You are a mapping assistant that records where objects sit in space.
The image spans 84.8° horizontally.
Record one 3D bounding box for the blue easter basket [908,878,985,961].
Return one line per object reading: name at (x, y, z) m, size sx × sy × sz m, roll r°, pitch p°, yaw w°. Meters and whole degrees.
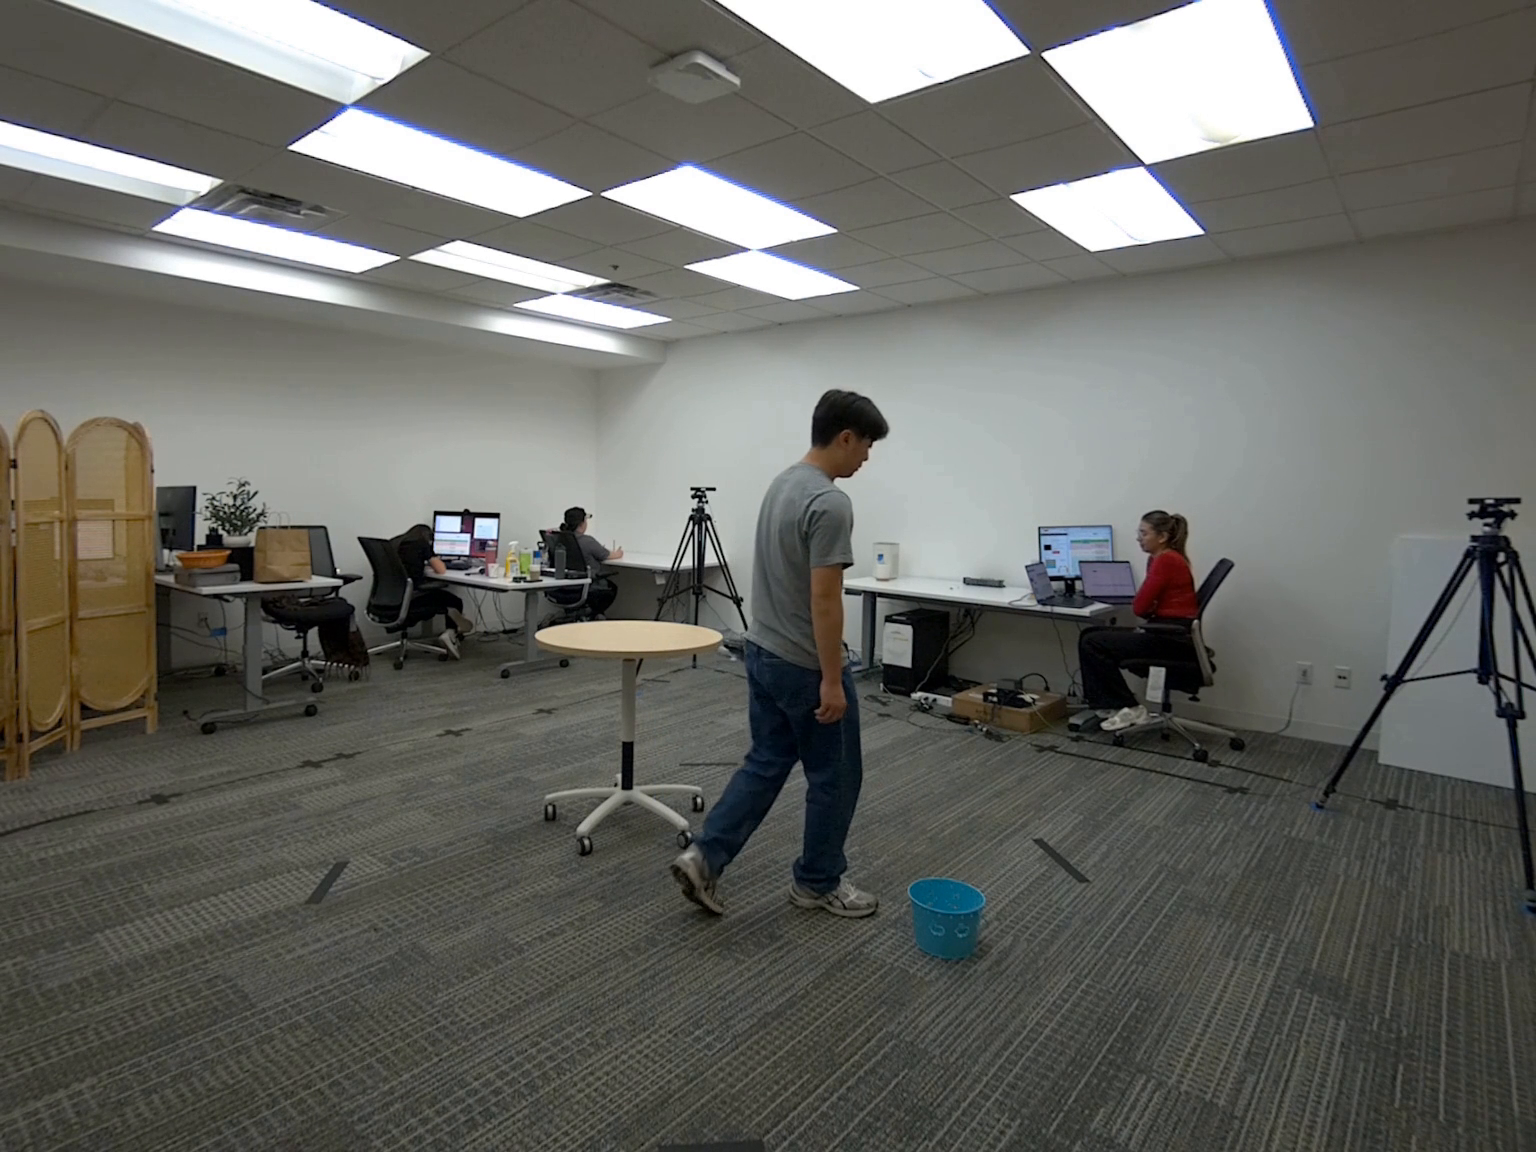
blue easter basket at (0.545, 1.053, 2.628) m, size 0.243 × 0.155 × 0.245 m, roll 1°, pitch 6°, yaw -2°
